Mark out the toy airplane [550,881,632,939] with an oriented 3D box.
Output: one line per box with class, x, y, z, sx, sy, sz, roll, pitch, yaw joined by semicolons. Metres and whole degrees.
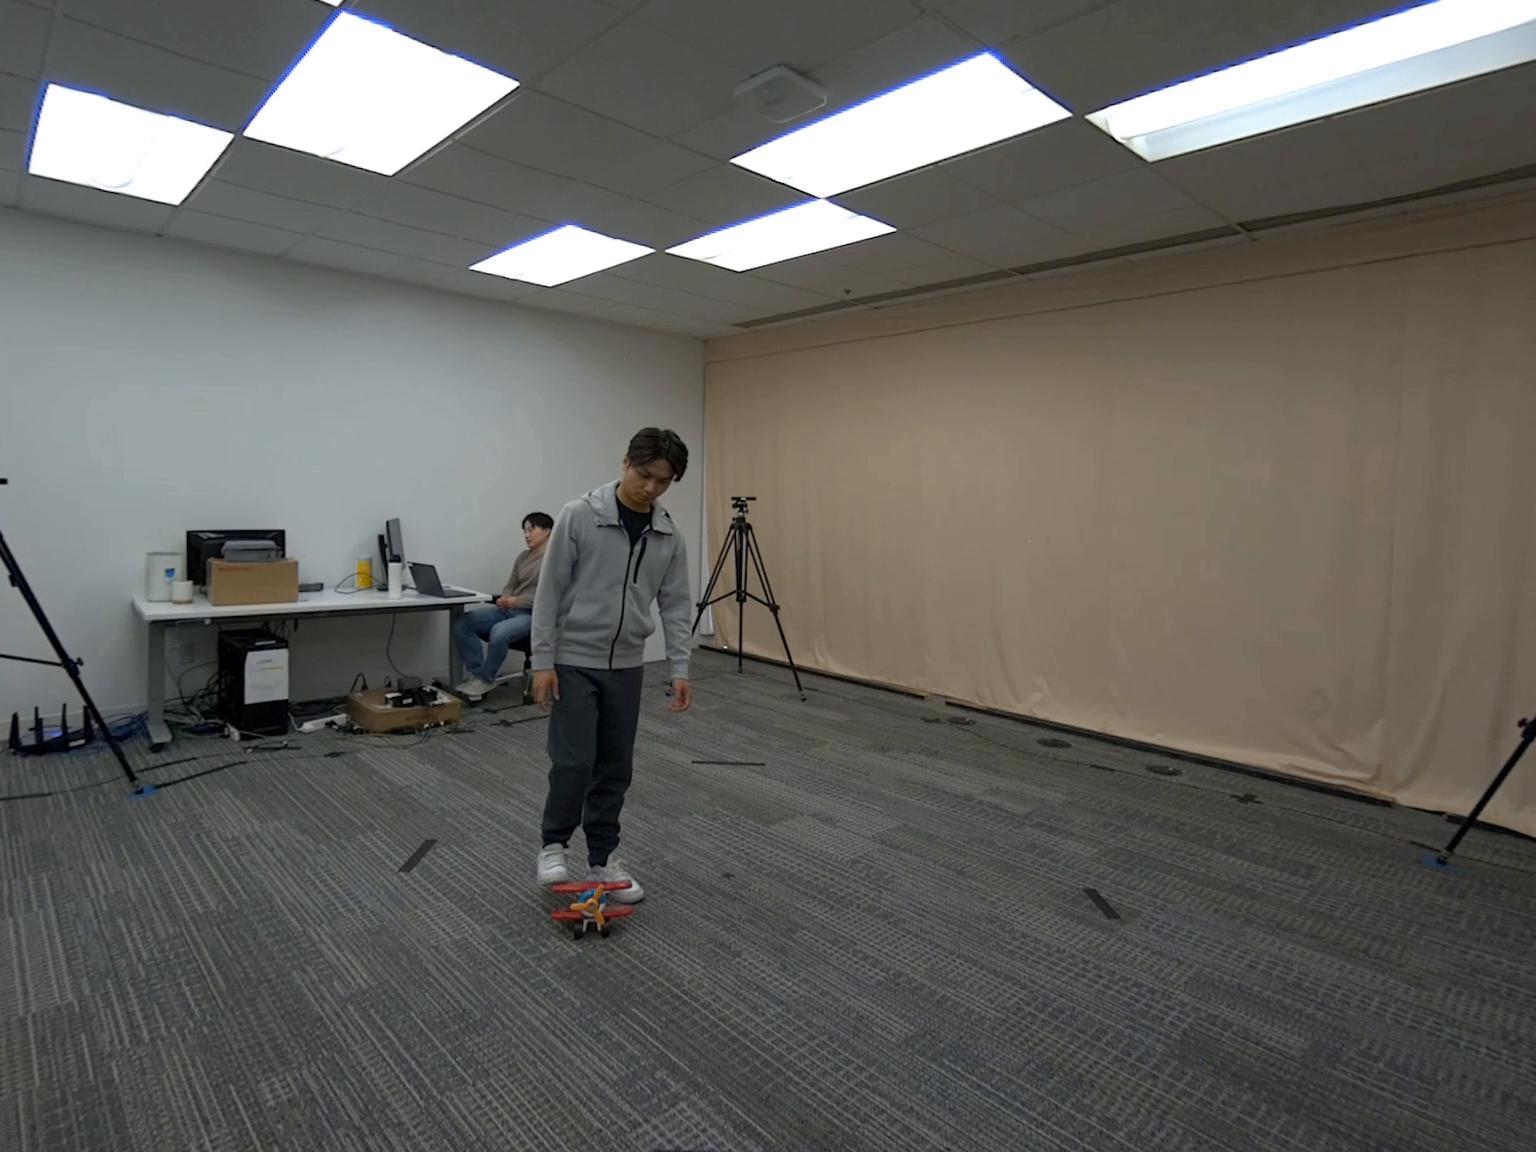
toy airplane;-0.599;1.061;2.724;0.246;0.156;0.266;-4;8;-36
